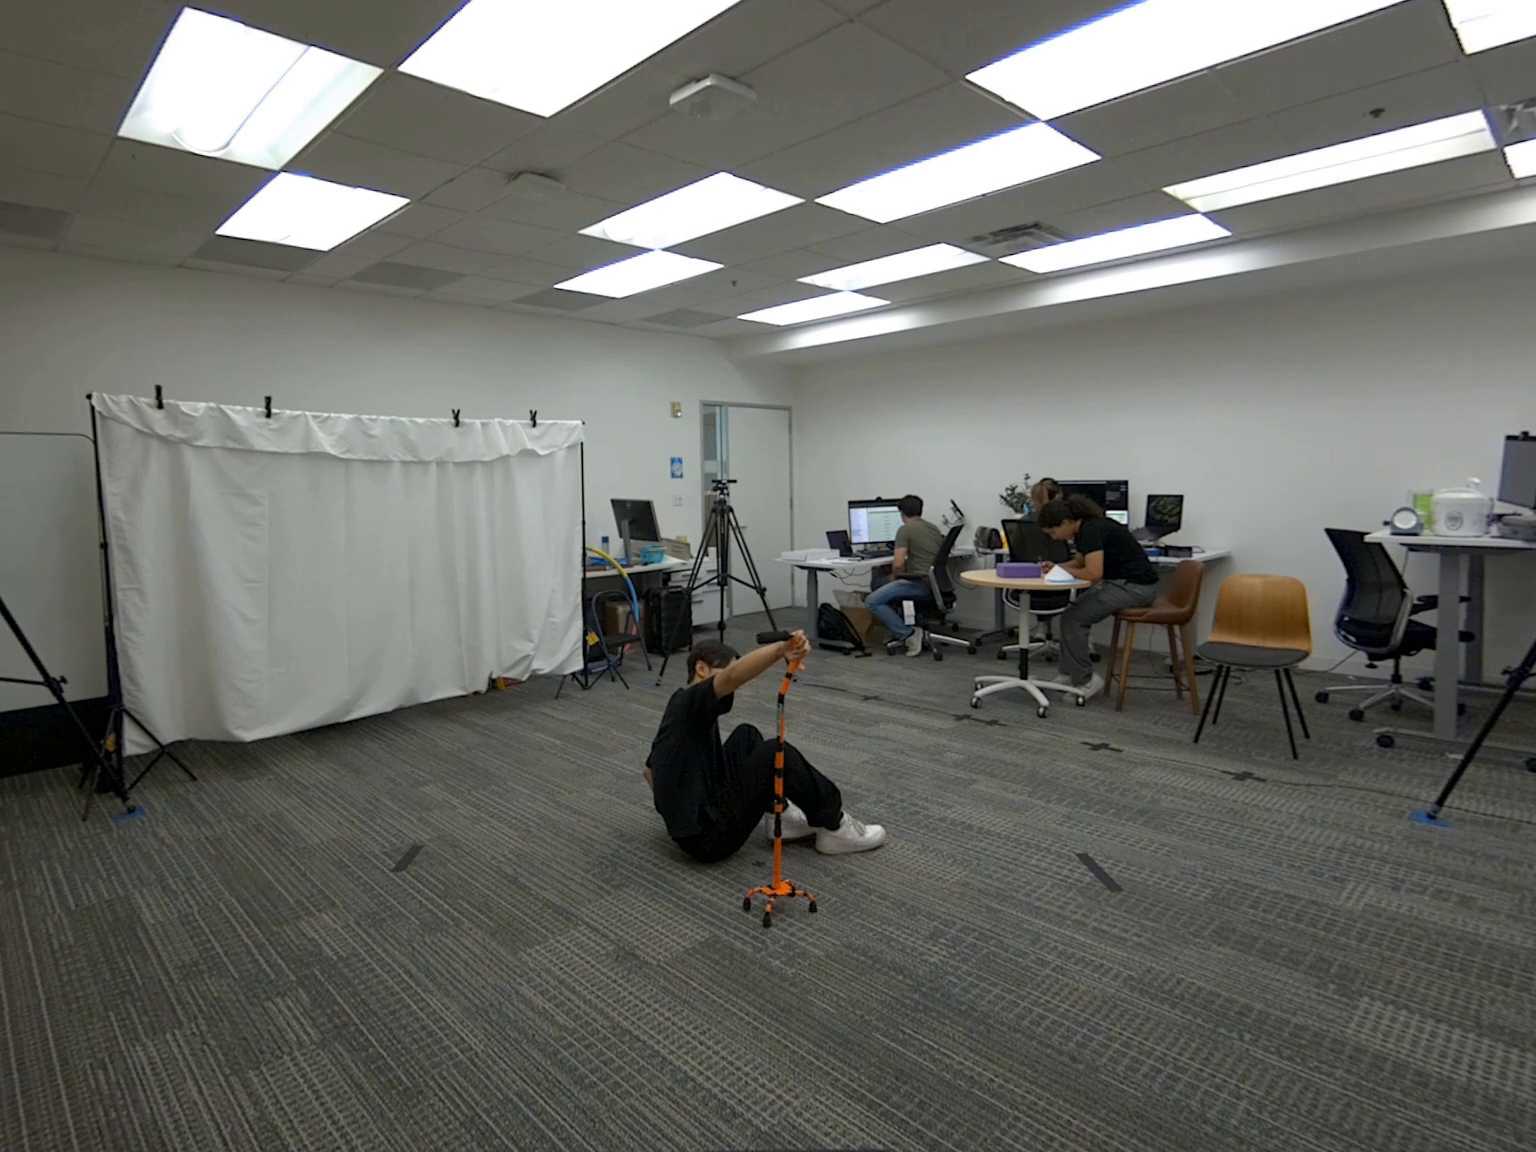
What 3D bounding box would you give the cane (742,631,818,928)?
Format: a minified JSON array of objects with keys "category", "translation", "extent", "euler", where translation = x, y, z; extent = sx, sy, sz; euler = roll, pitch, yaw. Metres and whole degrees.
[{"category":"cane","translation":[0.056,0.629,2.732],"extent":[0.201,0.904,0.156],"euler":[-1,5,-34]}]
